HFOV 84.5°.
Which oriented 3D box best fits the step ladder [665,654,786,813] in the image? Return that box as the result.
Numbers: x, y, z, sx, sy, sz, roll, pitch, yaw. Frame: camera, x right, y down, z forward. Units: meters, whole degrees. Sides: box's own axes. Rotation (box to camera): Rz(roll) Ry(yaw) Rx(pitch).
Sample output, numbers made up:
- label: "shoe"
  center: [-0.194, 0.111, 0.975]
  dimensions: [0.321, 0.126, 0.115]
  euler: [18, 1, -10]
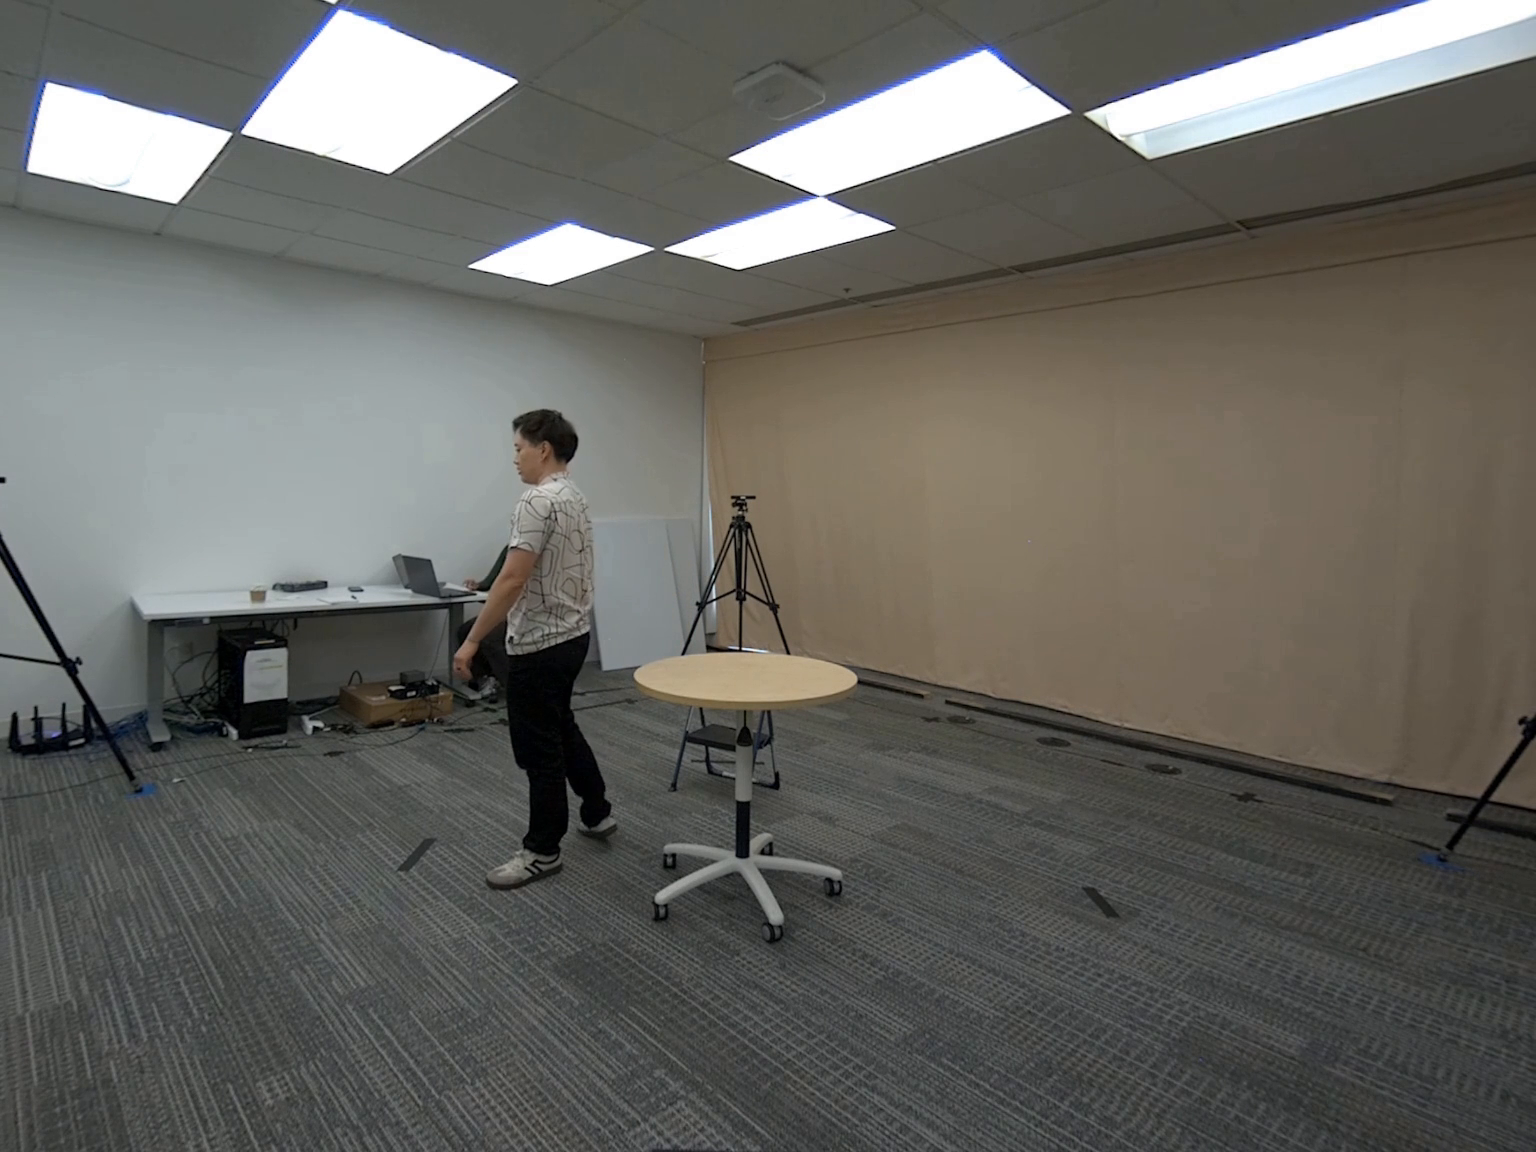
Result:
- label: "step ladder"
  center: [-0.204, 0.719, 4.004]
  dimensions: [0.440, 0.605, 0.342]
  euler: [4, 3, 31]
